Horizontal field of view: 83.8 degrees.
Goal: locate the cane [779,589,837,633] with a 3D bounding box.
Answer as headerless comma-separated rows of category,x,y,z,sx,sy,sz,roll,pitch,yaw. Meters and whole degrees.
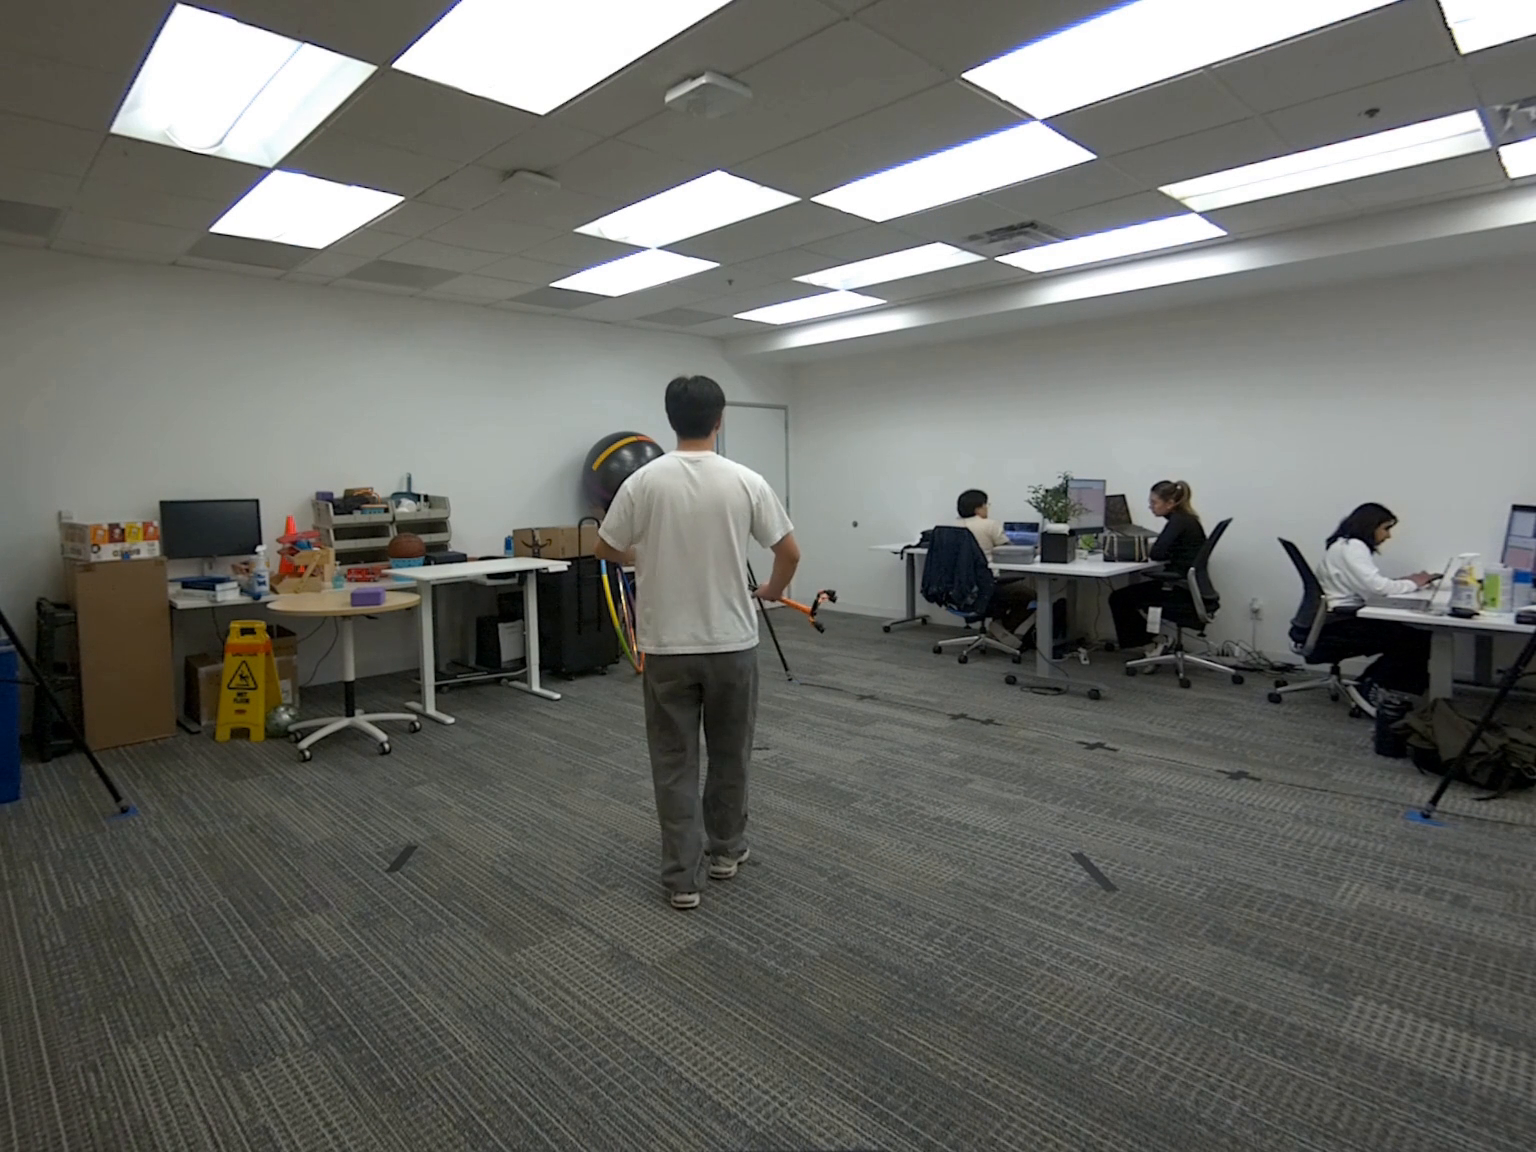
cane,-0.200,-0.005,3.244,0.924,0.152,0.202,21,-11,14
